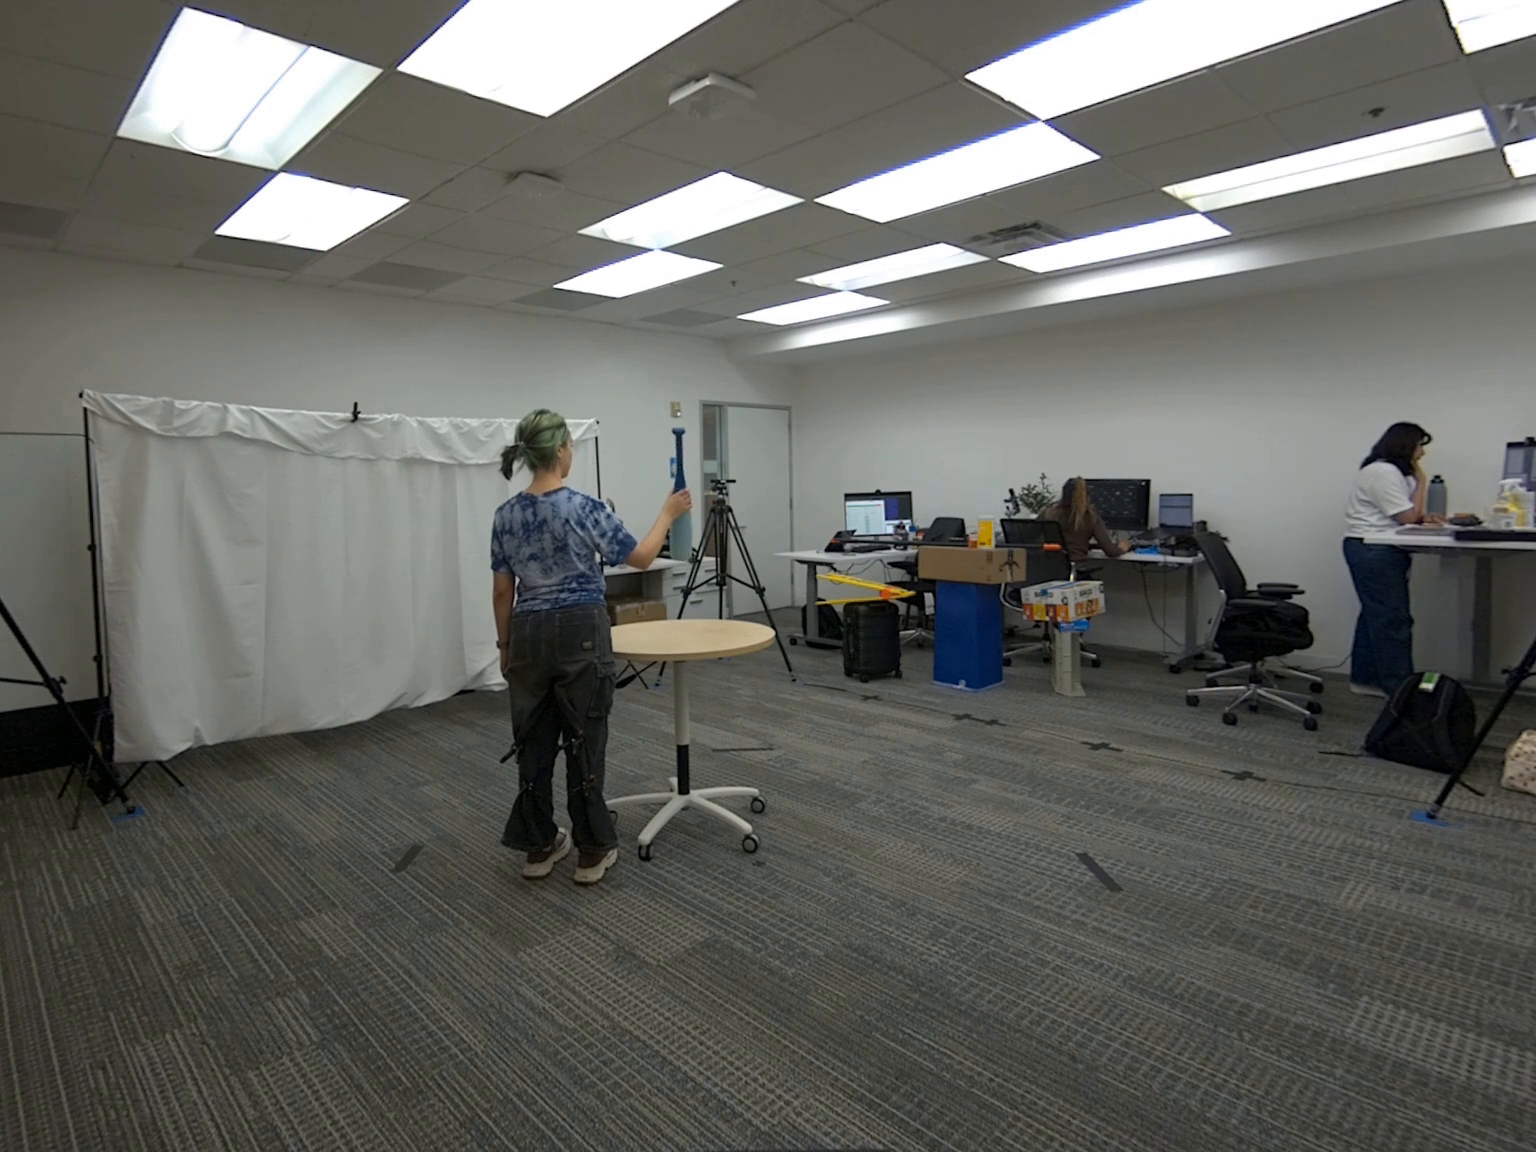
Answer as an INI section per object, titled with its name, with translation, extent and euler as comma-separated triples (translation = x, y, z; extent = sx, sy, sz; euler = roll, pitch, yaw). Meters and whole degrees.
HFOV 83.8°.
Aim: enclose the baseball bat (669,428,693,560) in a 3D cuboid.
[baseball bat]
translation = -0.341, -0.311, 3.268
extent = 0.089, 0.531, 0.091
euler = -1, 26, -1
